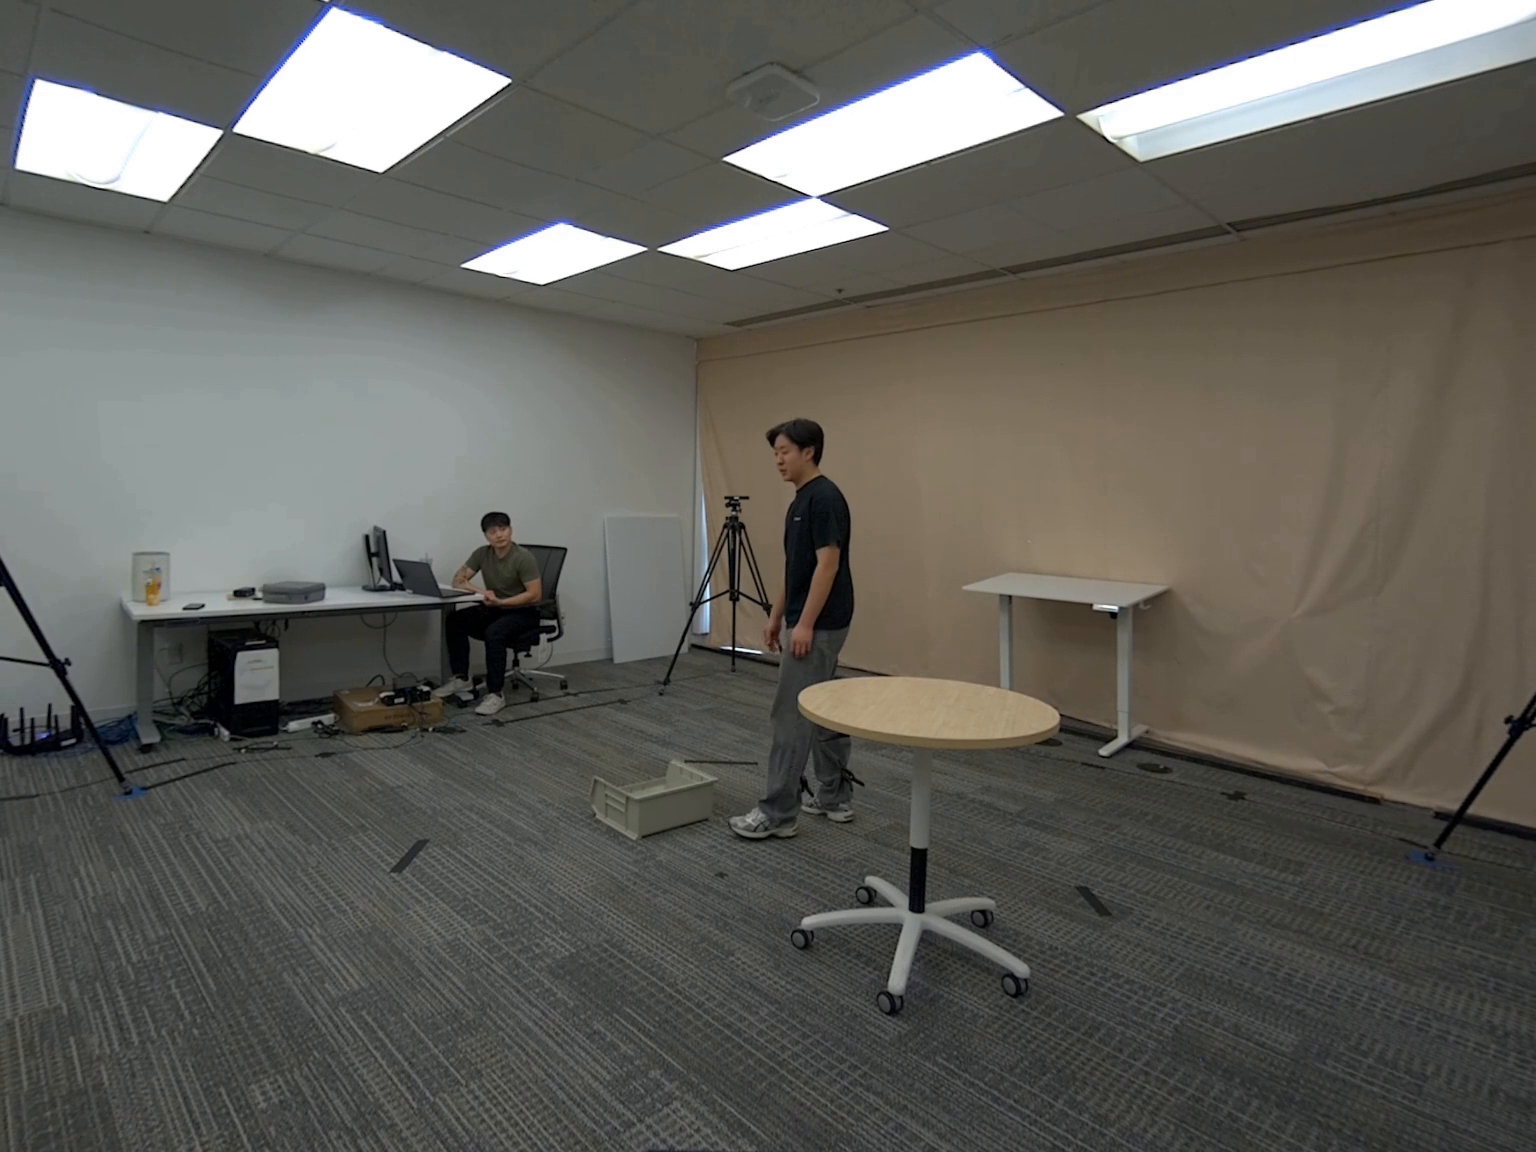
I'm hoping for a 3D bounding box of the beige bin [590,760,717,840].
[{"bbox_3d":[-0.506,0.958,3.654,0.413,0.188,0.387,-2,7,-41],"label":"beige bin"}]
